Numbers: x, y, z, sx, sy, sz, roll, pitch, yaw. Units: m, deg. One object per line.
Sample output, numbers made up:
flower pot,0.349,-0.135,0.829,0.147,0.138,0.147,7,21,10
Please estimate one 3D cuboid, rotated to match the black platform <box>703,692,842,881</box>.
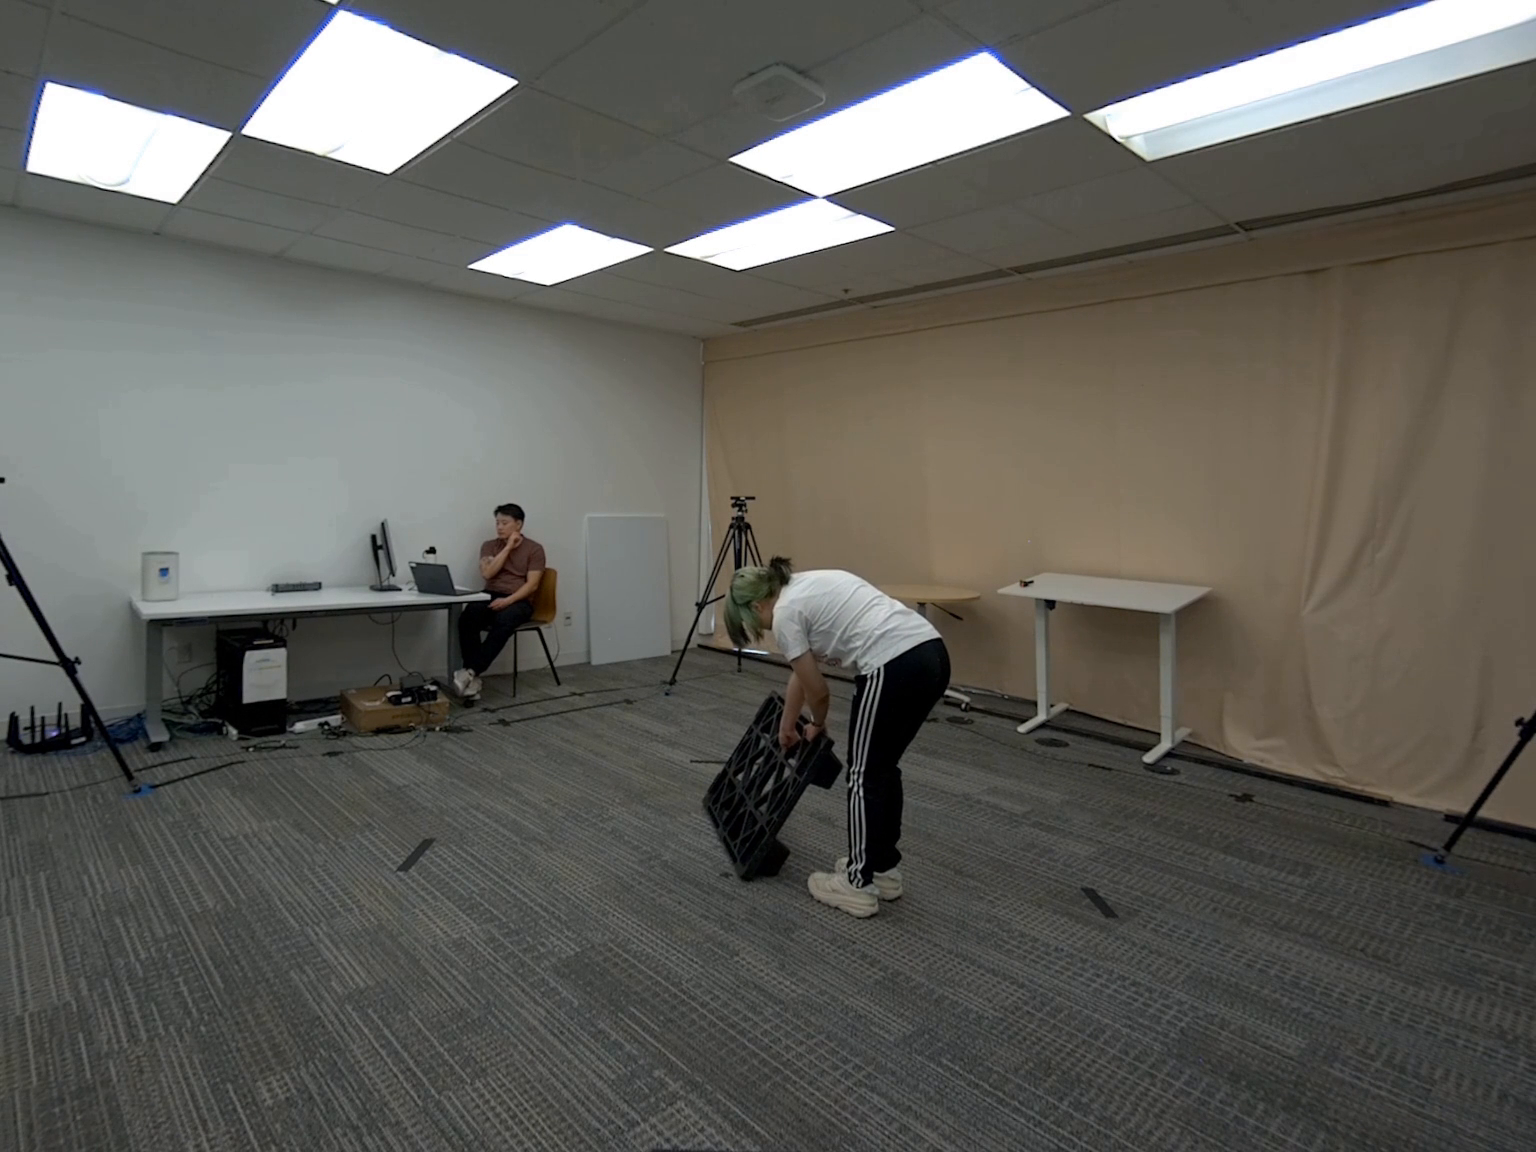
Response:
black platform,0.003,0.834,3.464,0.141,0.605,0.817,34,-3,-15
